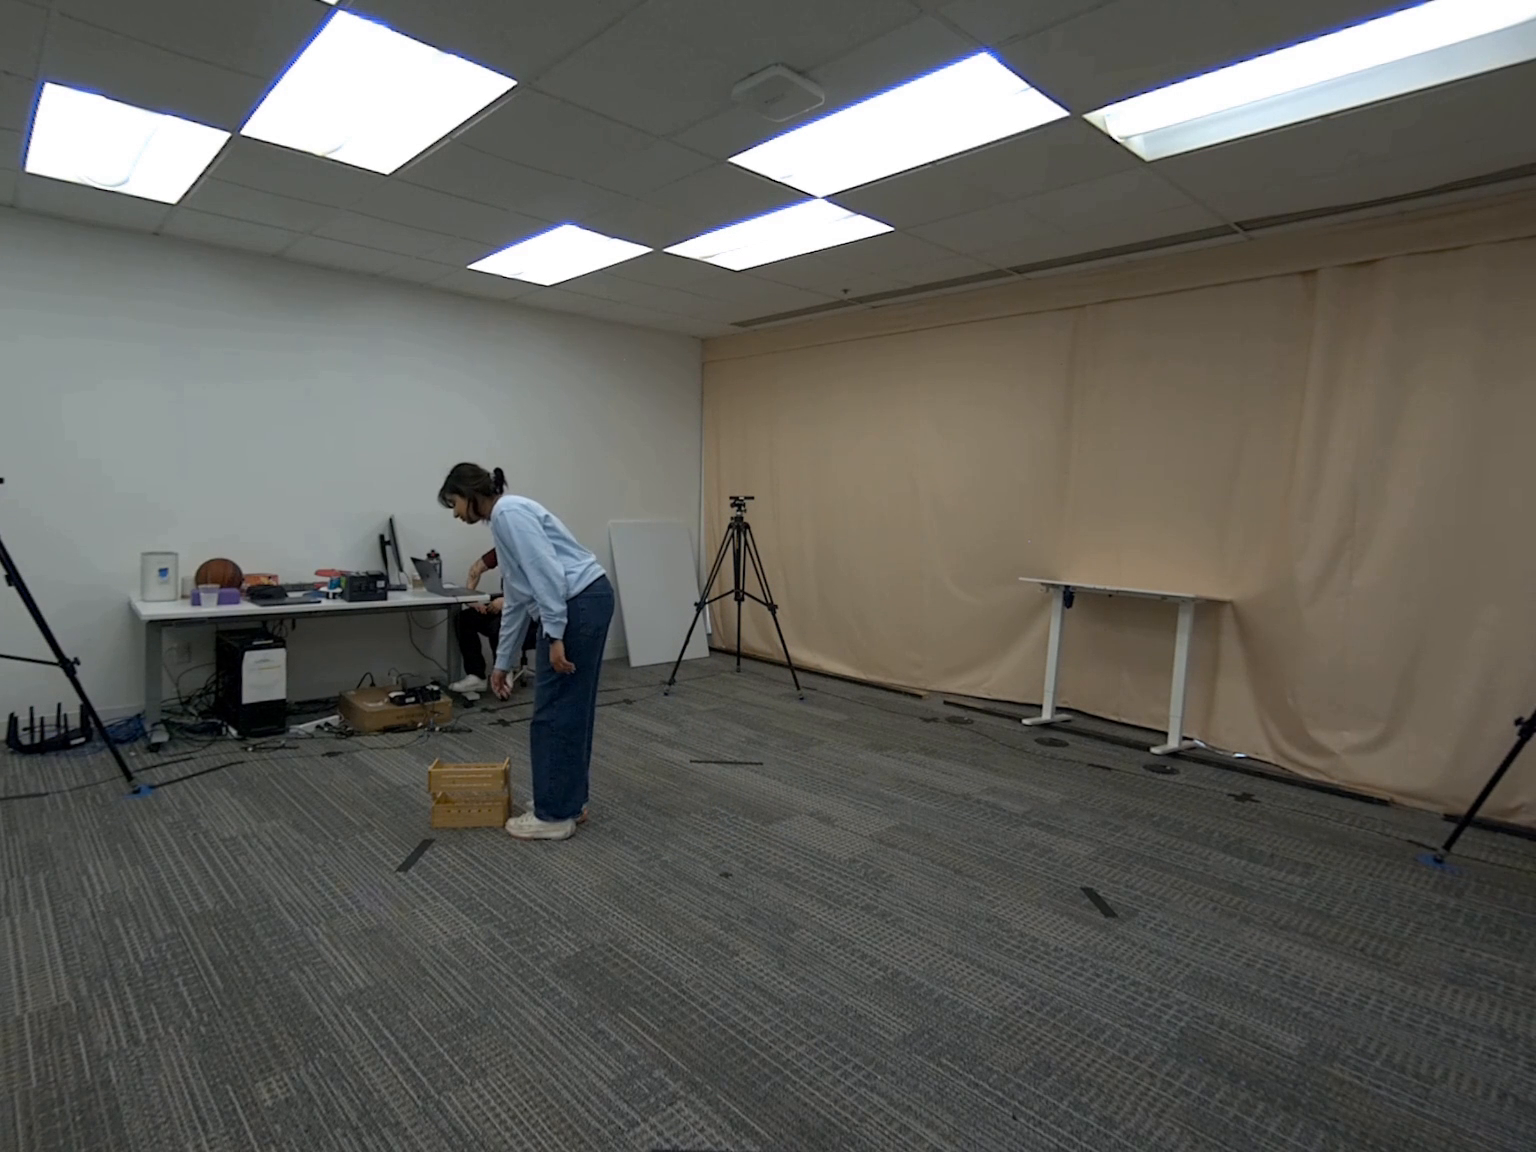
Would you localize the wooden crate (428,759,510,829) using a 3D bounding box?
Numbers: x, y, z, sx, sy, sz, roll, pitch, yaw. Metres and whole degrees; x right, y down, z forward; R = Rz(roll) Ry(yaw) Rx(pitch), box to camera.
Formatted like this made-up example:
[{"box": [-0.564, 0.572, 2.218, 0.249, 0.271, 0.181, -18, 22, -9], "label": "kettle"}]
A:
[{"box": [-1.262, 0.898, 3.597, 0.323, 0.272, 0.305, 1, 6, -7], "label": "wooden crate"}]
